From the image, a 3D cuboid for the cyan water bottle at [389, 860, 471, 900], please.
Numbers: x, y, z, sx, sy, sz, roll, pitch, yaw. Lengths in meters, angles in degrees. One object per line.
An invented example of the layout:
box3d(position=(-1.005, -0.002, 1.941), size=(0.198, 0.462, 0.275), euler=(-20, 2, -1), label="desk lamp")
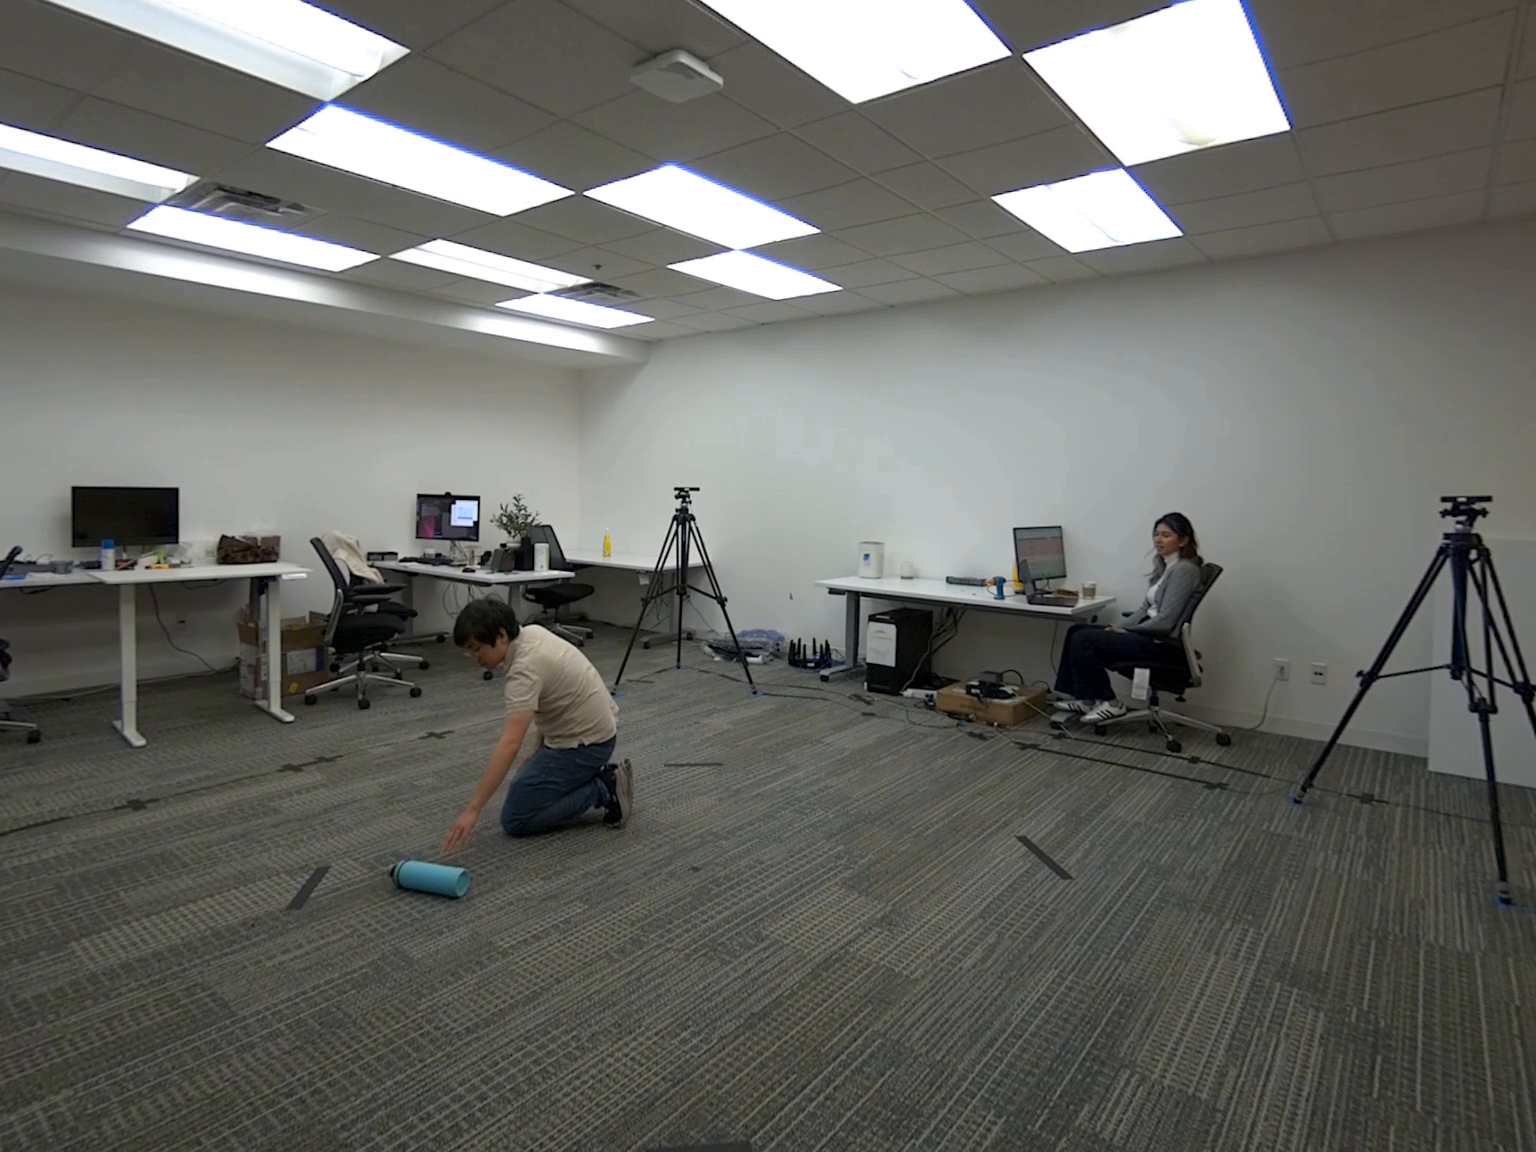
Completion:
box3d(position=(-1.176, 1.025, 2.909), size=(0.288, 0.092, 0.091), euler=(2, 4, 16), label="cyan water bottle")
